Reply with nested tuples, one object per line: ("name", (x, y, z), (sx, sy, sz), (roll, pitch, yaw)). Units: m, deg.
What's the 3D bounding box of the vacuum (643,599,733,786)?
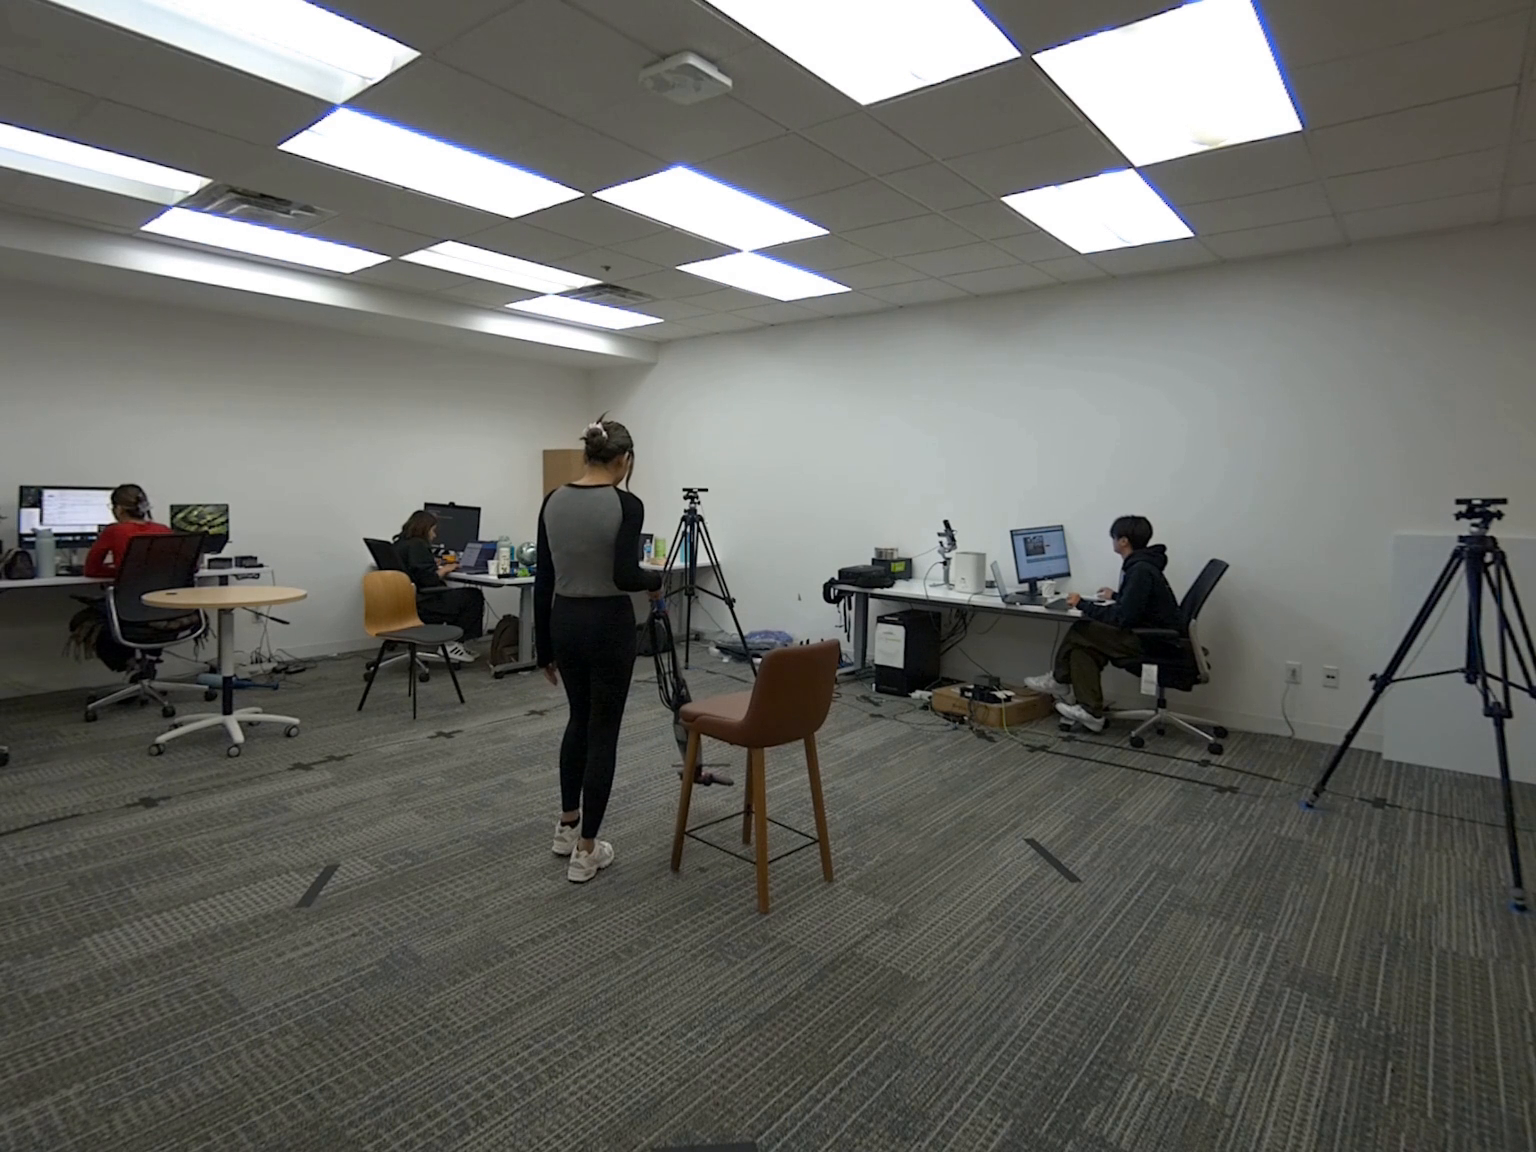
("vacuum", (-0.383, 0.438, 3.391), (0.259, 1.019, 0.145), (2, 31, 23))
